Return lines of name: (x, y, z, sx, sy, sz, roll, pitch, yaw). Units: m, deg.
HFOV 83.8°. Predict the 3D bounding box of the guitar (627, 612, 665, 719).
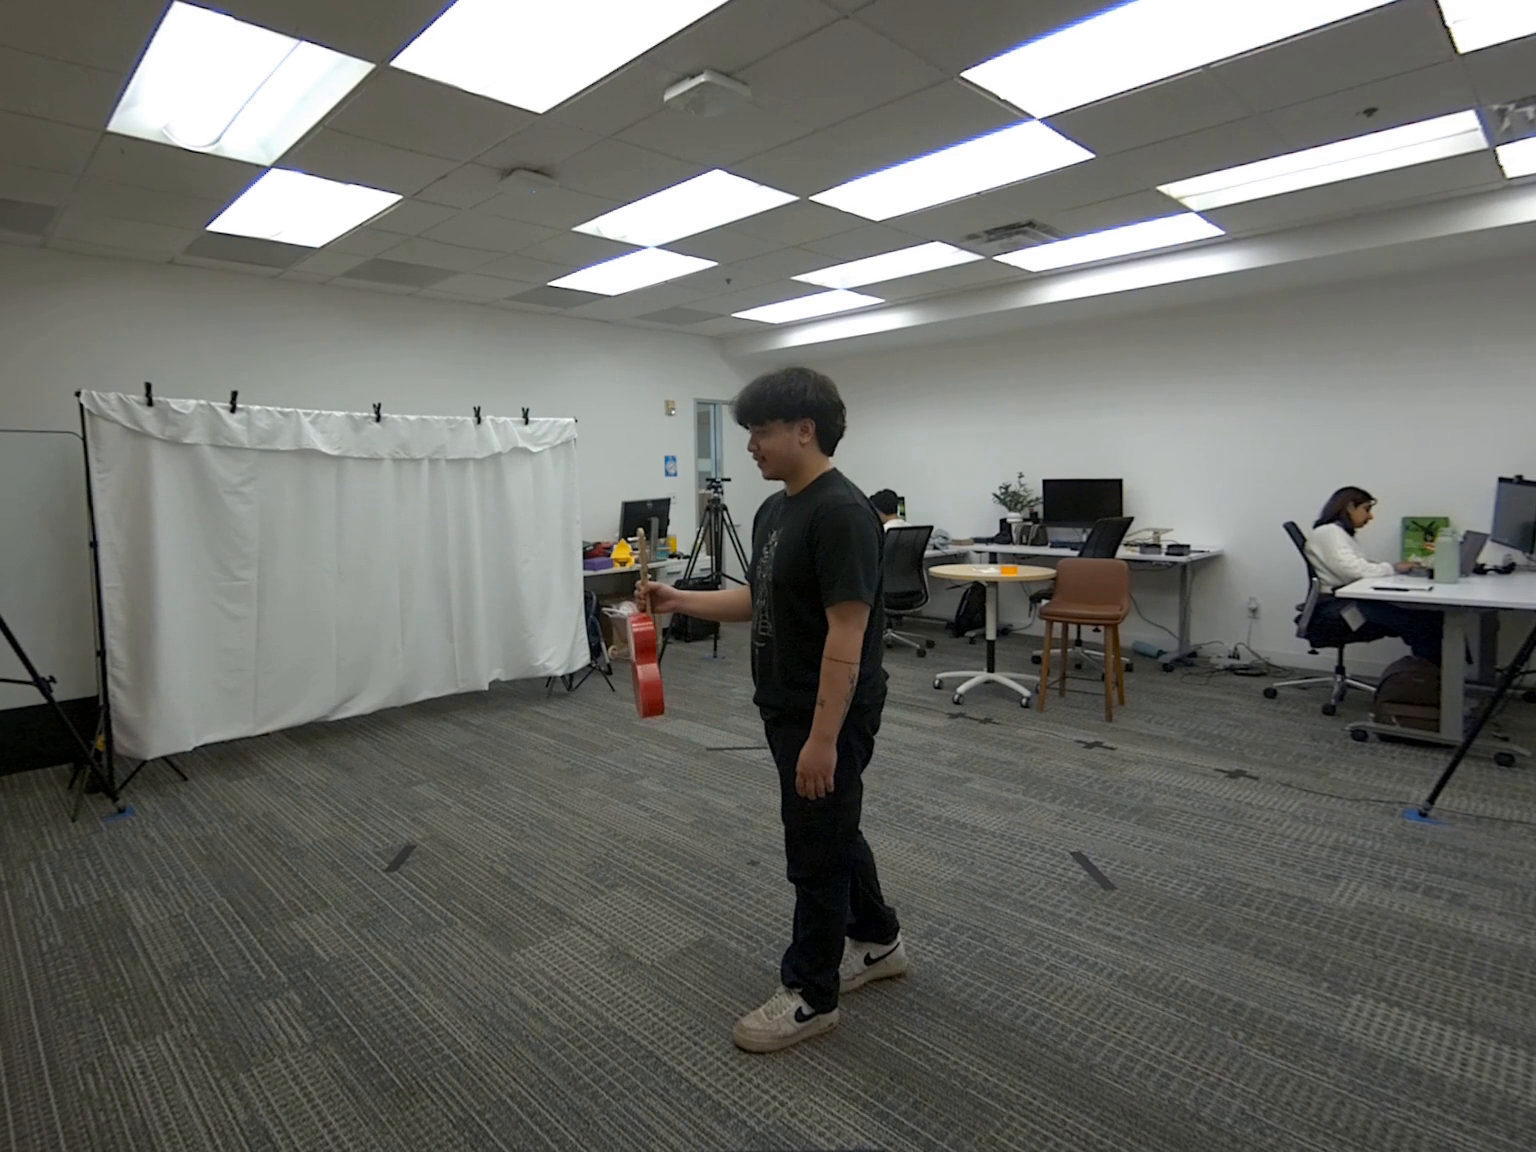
guitar: (-0.335, 0.127, 2.313, 0.070, 0.500, 0.194, -7, -5, -13)
